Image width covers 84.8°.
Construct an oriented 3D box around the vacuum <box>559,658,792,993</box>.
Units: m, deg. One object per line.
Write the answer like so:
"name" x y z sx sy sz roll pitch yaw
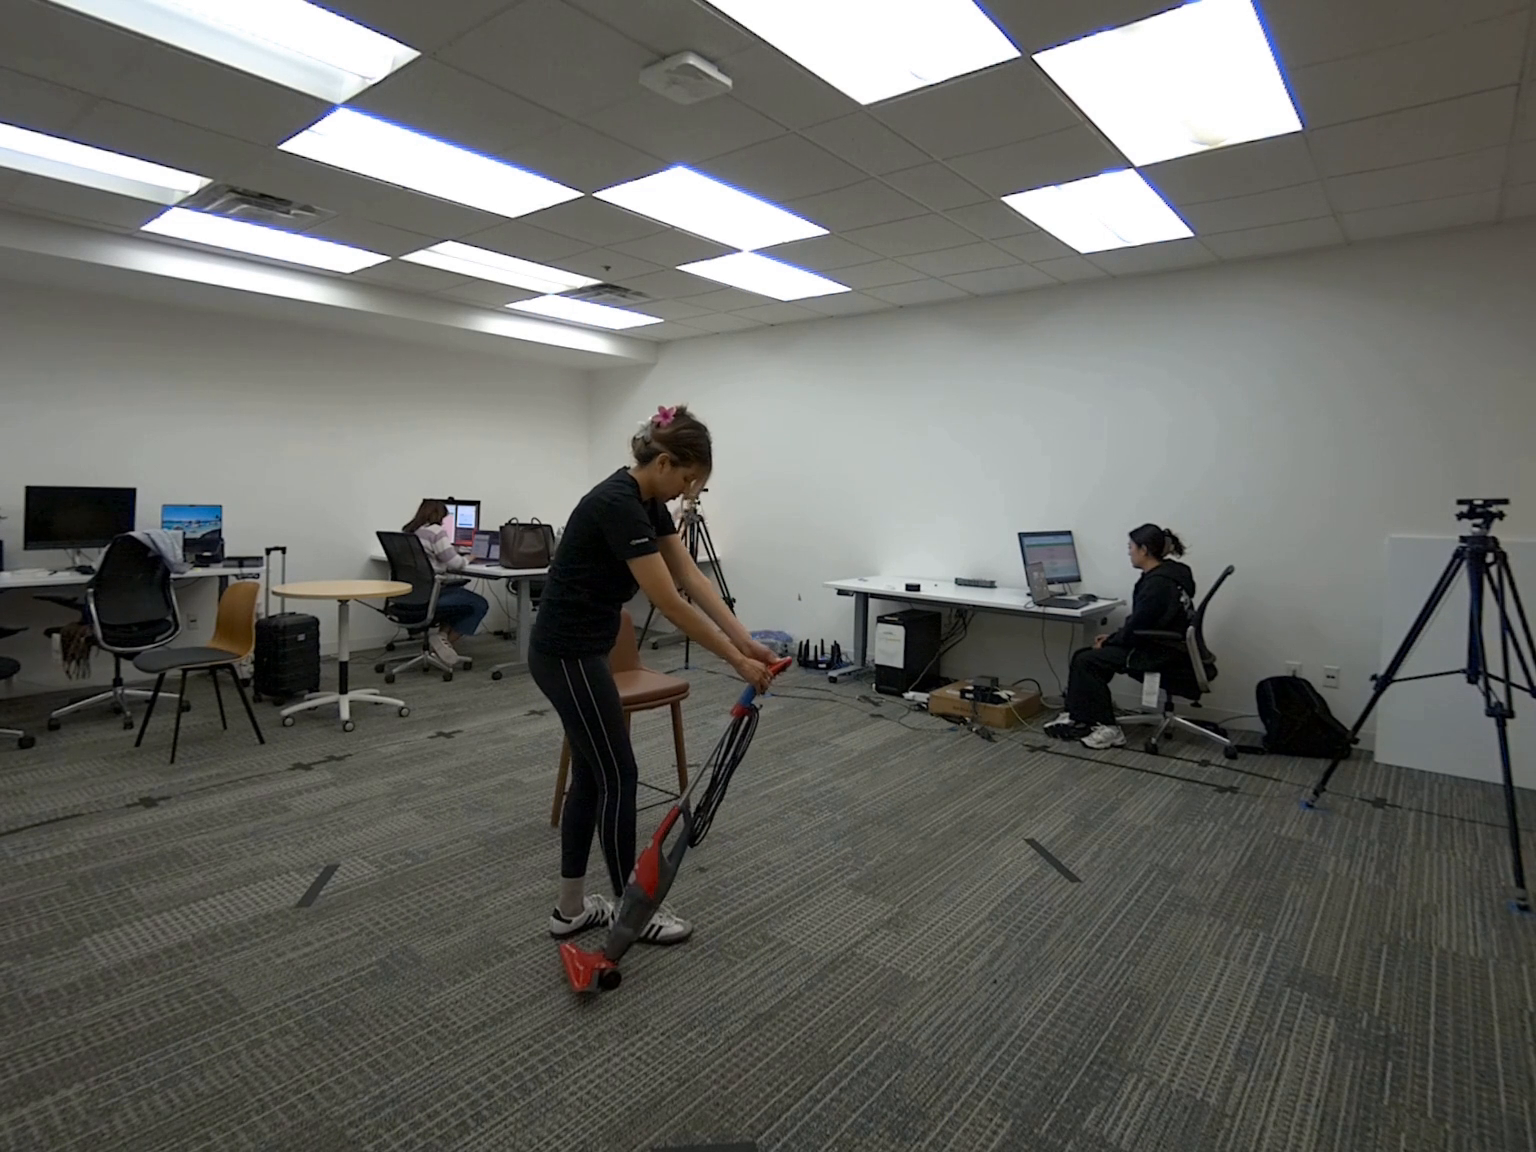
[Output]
"vacuum" -0.220 0.693 2.472 0.139 1.051 0.261 40 -11 -27
